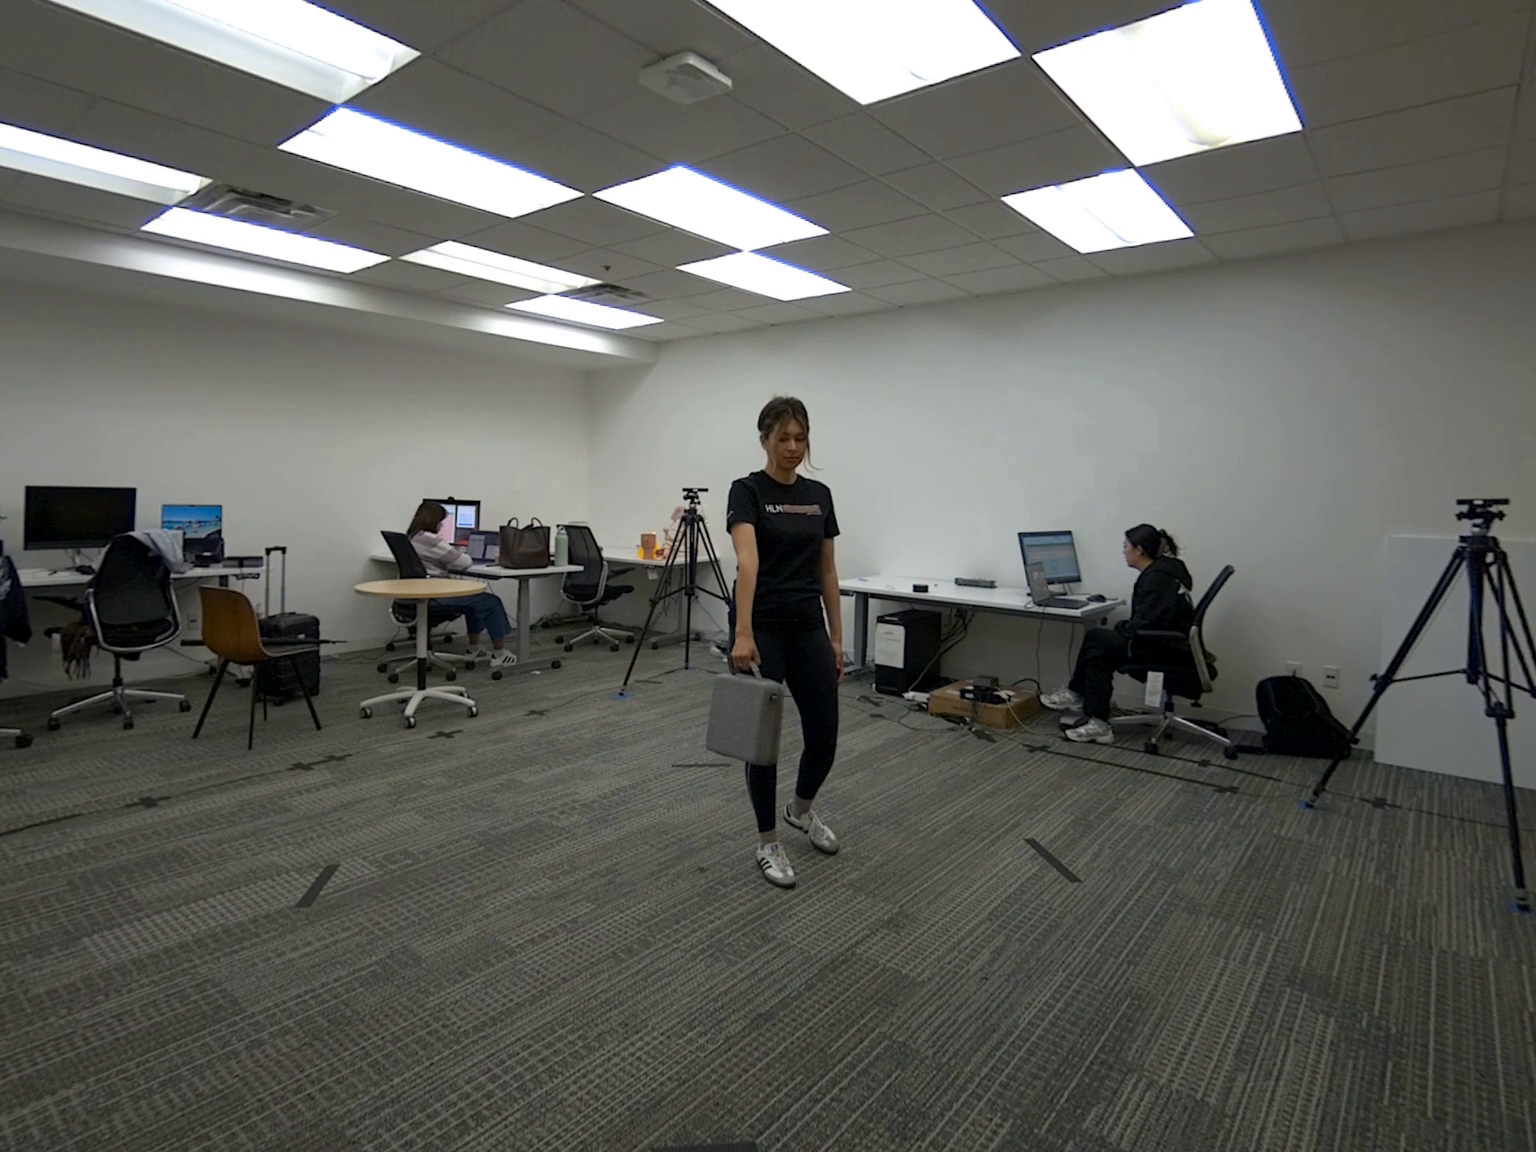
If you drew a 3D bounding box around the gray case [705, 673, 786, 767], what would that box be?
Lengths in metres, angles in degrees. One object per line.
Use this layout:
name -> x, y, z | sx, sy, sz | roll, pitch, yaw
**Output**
gray case -> -0.078, 0.435, 2.673 | 0.101, 0.262, 0.265 | 9, -6, -40
